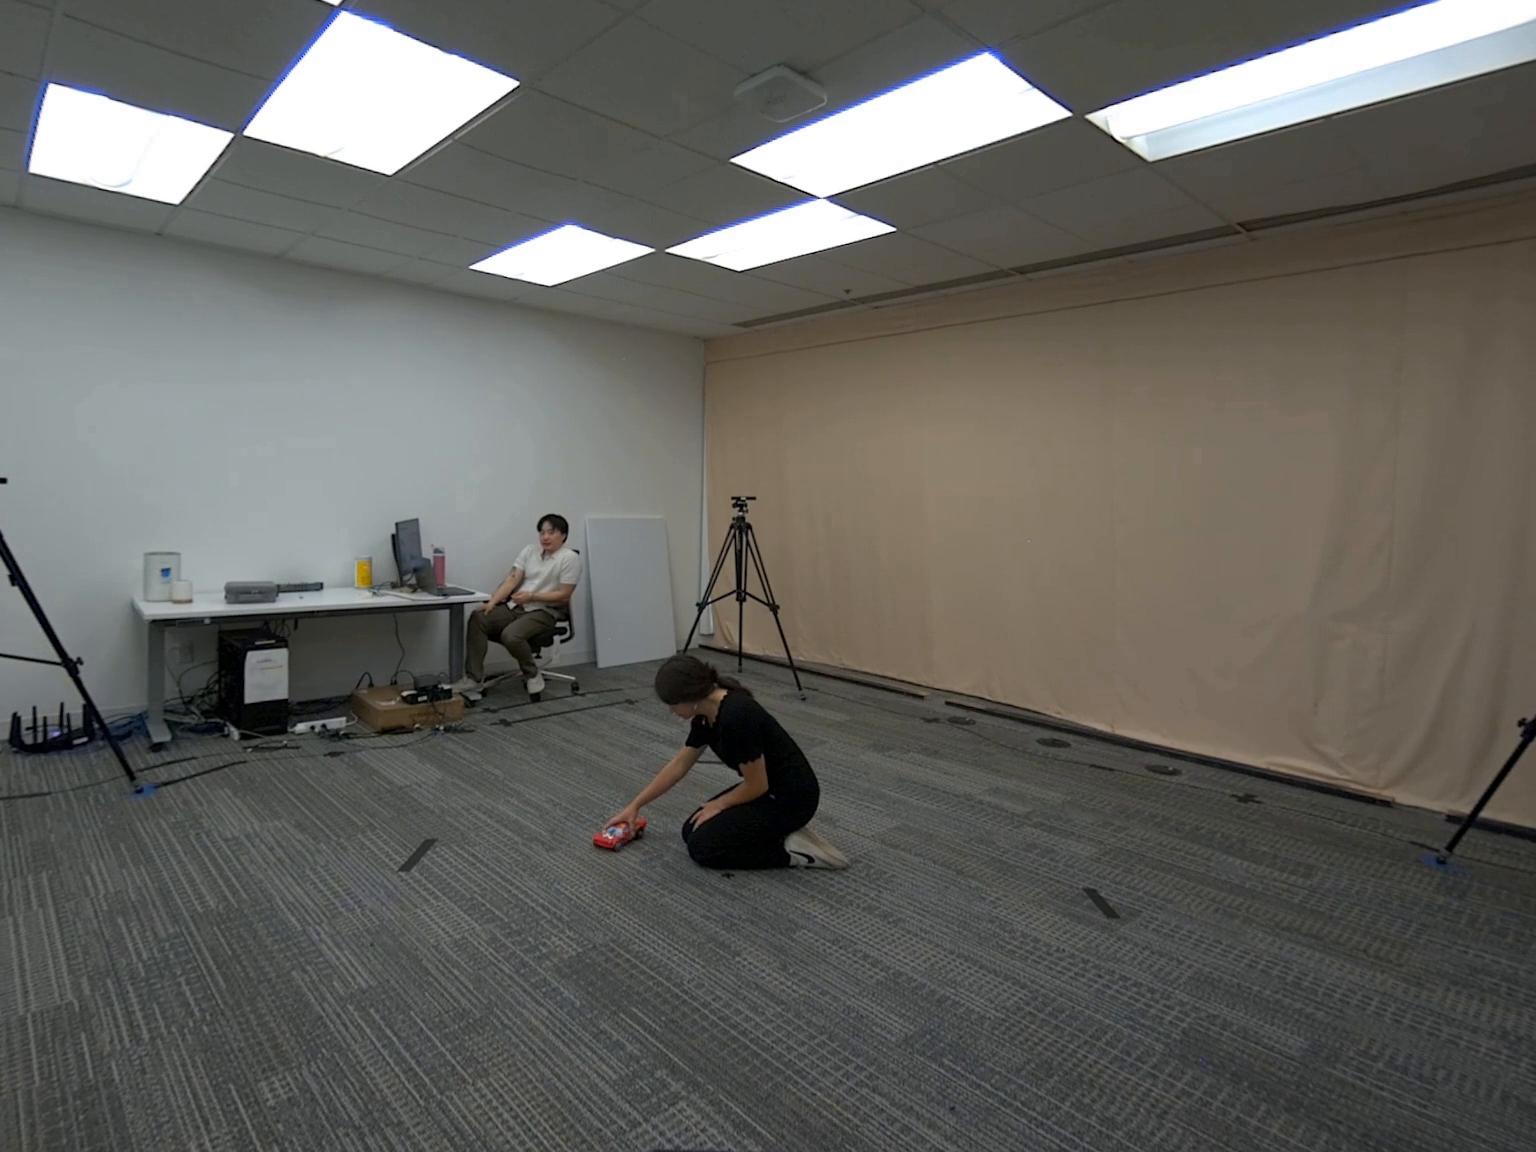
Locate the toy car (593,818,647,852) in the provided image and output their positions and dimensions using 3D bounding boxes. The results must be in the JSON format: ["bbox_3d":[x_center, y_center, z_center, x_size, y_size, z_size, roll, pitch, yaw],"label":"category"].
[{"bbox_3d":[-0.587,1.033,3.398,0.133,0.082,0.252,3,16,28],"label":"toy car"}]
